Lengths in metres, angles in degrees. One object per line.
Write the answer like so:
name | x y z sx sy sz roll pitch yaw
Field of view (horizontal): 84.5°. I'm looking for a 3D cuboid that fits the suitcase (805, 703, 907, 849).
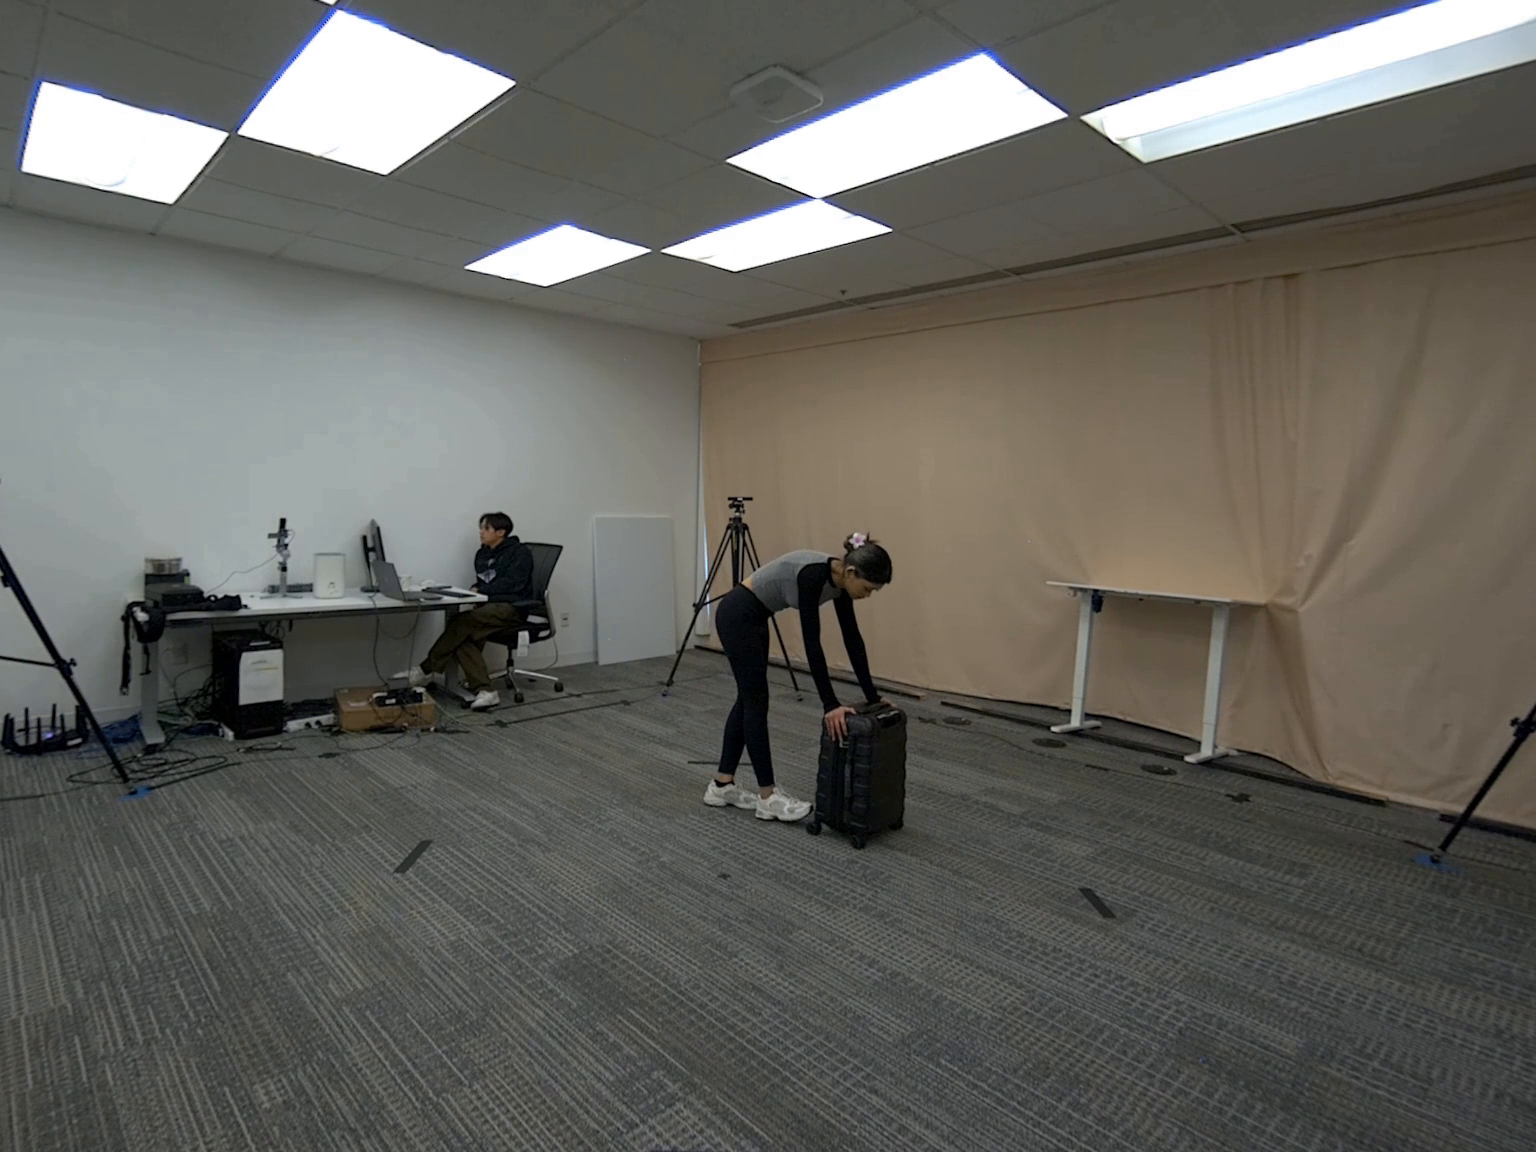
suitcase | 0.386 0.810 3.533 0.255 0.547 0.367 7 6 40
